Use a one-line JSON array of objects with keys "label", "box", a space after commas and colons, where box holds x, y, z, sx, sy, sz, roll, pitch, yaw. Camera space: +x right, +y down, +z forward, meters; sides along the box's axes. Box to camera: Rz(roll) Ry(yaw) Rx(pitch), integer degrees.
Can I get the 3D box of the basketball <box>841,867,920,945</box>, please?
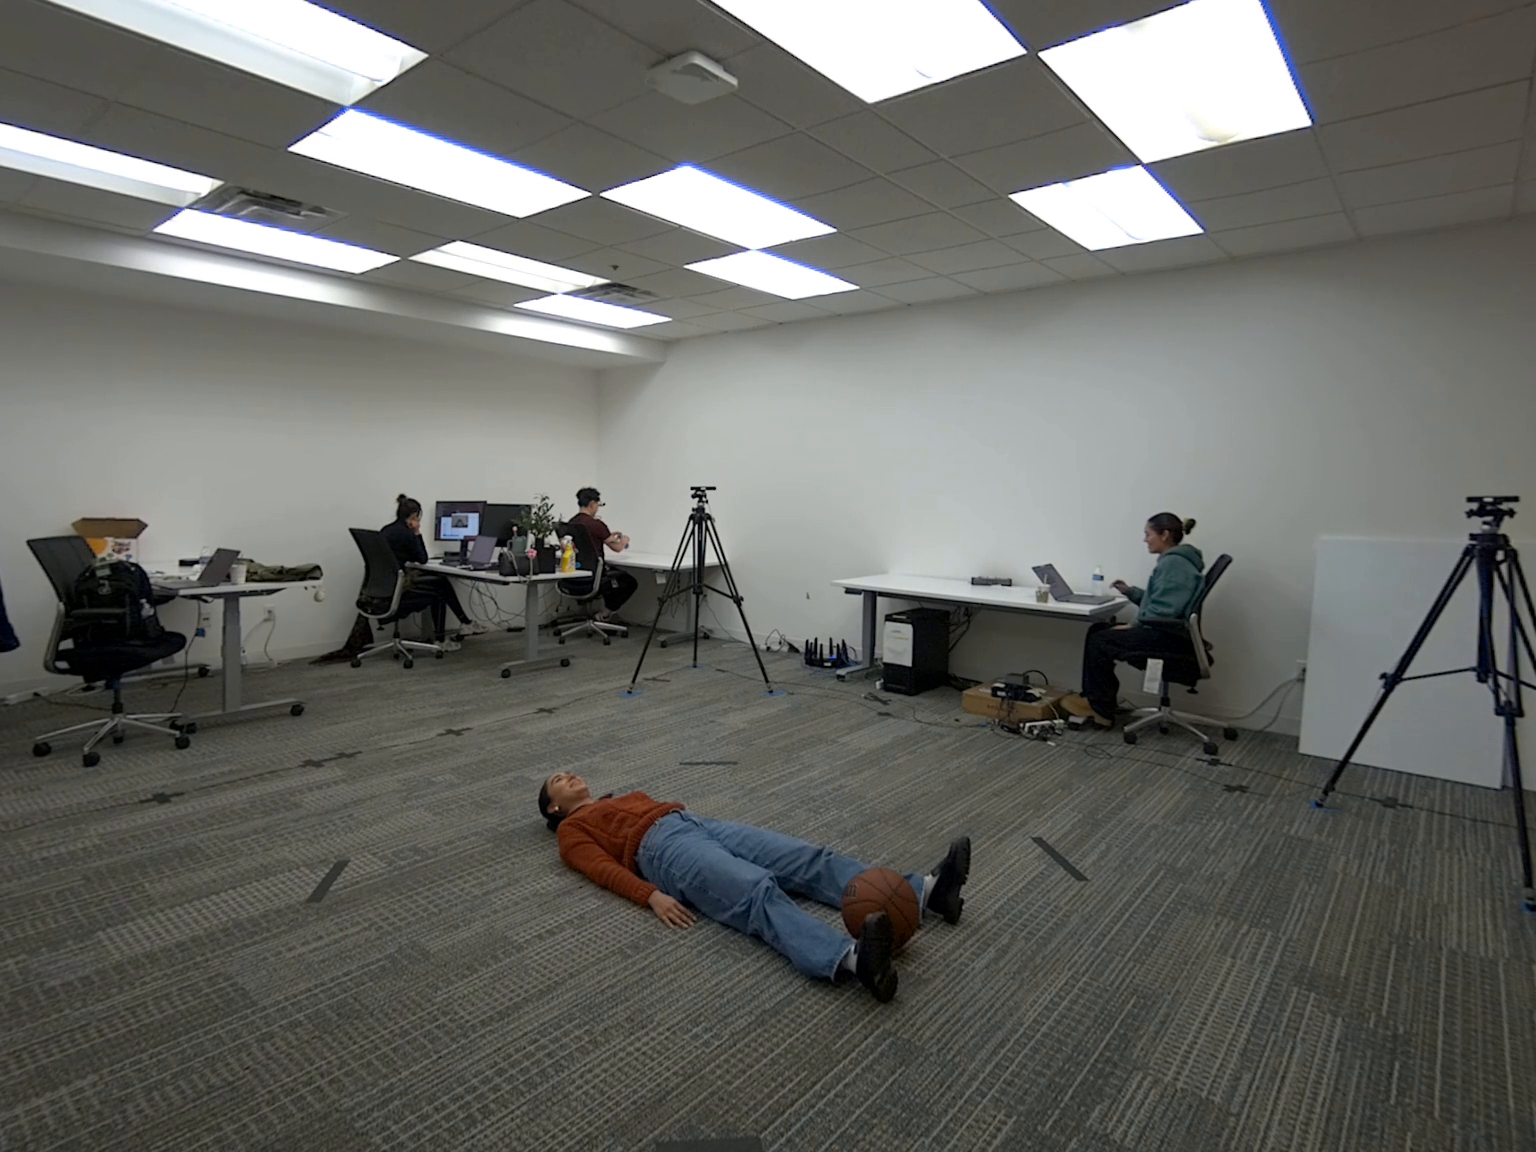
[{"label": "basketball", "box": [0.335, 1.011, 2.589, 0.236, 0.235, 0.237, 1, 4, -2]}]
